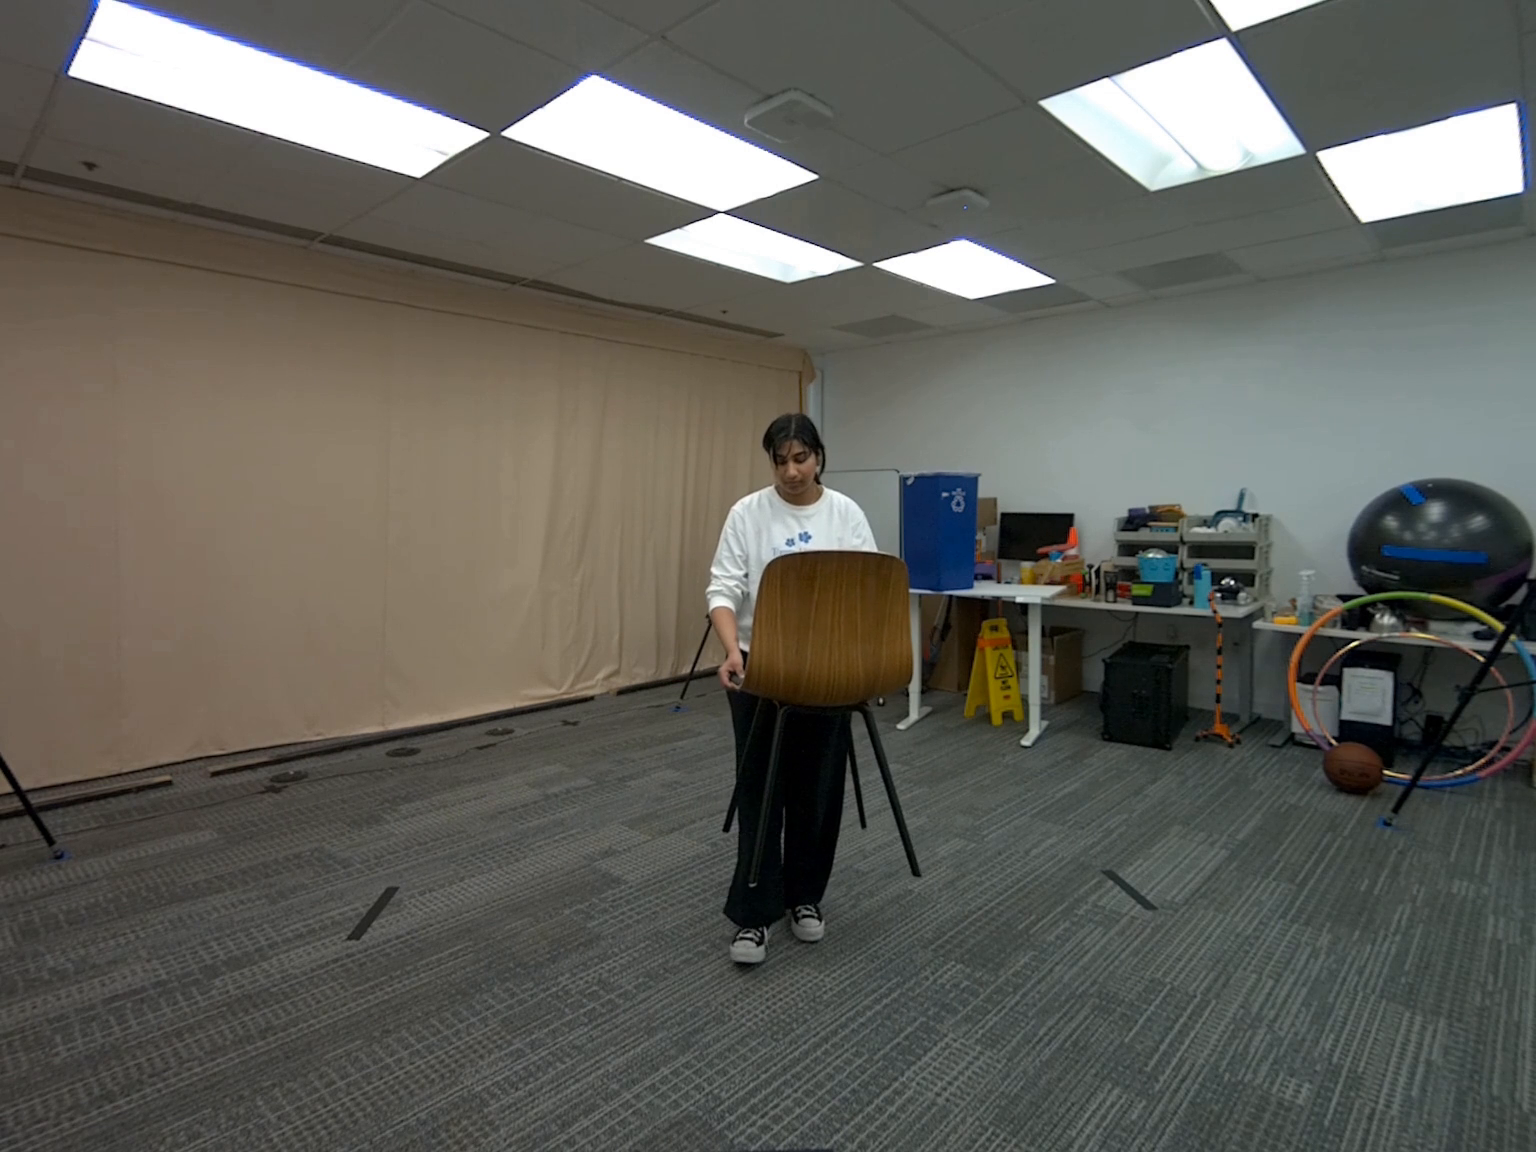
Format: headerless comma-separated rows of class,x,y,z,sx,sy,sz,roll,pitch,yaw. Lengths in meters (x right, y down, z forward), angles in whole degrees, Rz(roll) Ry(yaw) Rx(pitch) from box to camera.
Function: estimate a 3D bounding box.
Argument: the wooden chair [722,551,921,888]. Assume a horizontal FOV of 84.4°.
wooden chair,0.135,0.356,2.389,0.473,0.876,0.529,1,2,-11
